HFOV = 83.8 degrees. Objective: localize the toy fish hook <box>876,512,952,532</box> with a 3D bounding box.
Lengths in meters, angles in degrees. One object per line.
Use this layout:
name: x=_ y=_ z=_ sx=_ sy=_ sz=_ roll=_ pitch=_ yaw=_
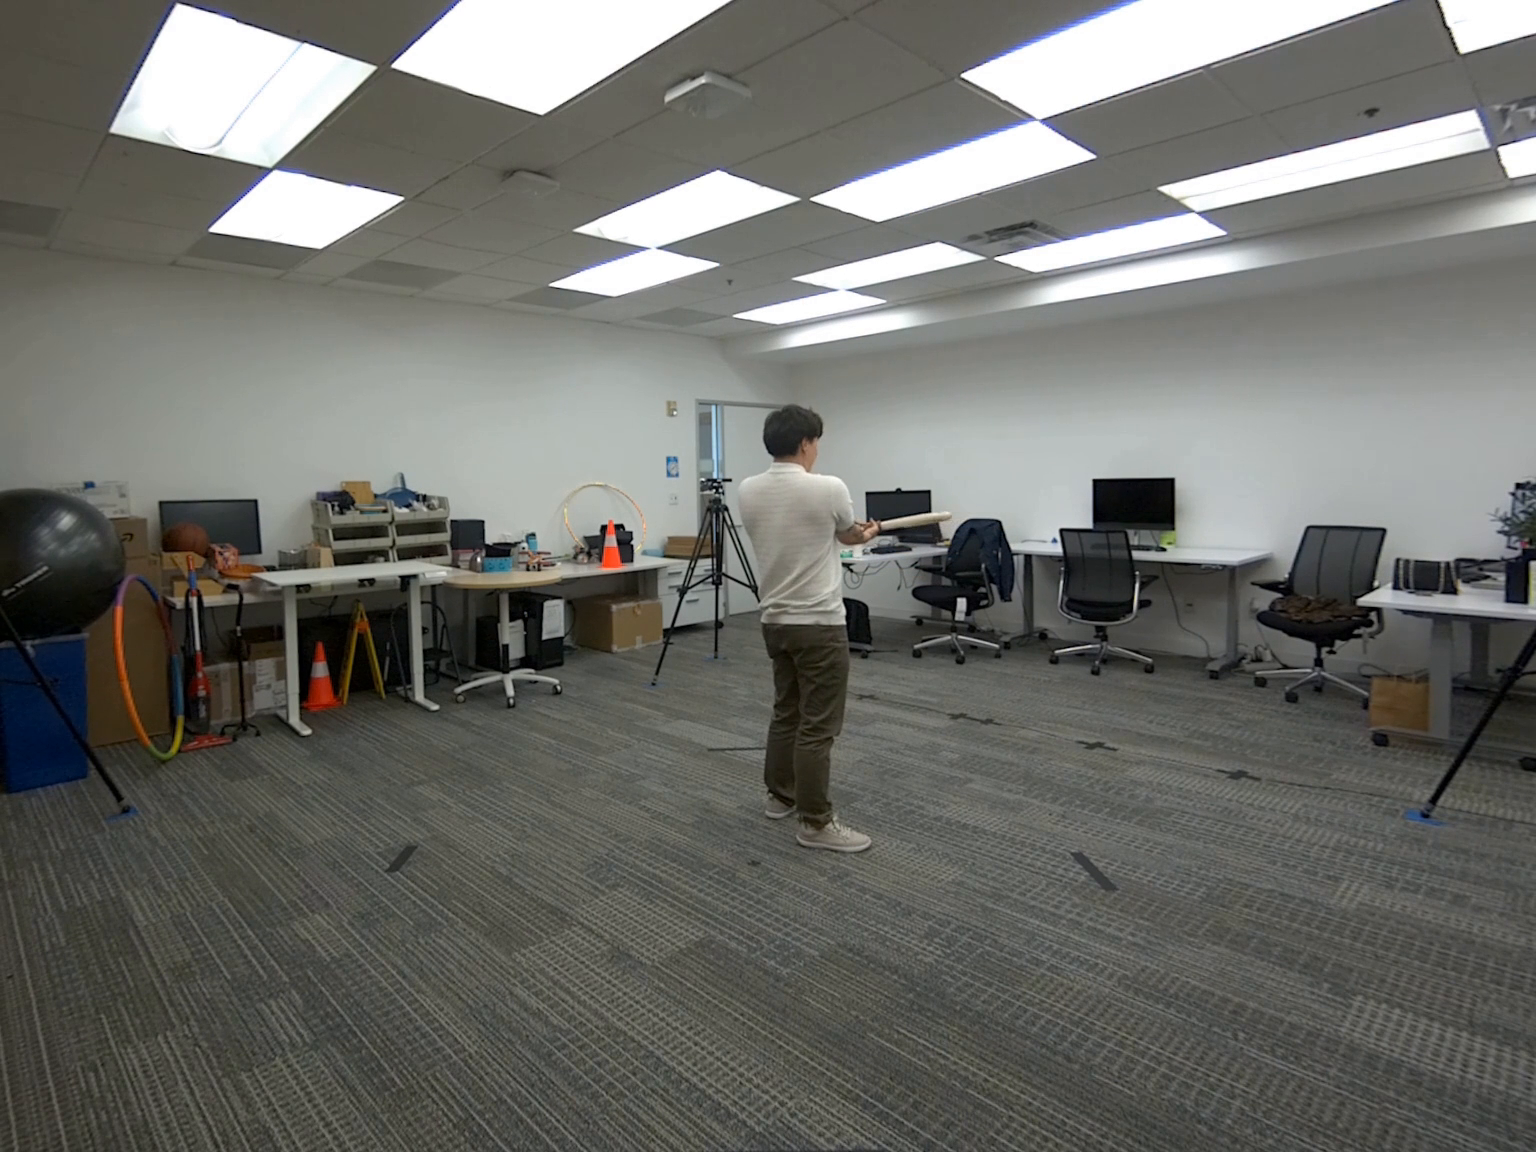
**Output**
toy fish hook: x=0.518 y=-0.217 z=3.713 sx=0.508 sy=0.049 sz=0.222 roll=-7 pitch=-7 yaw=4
